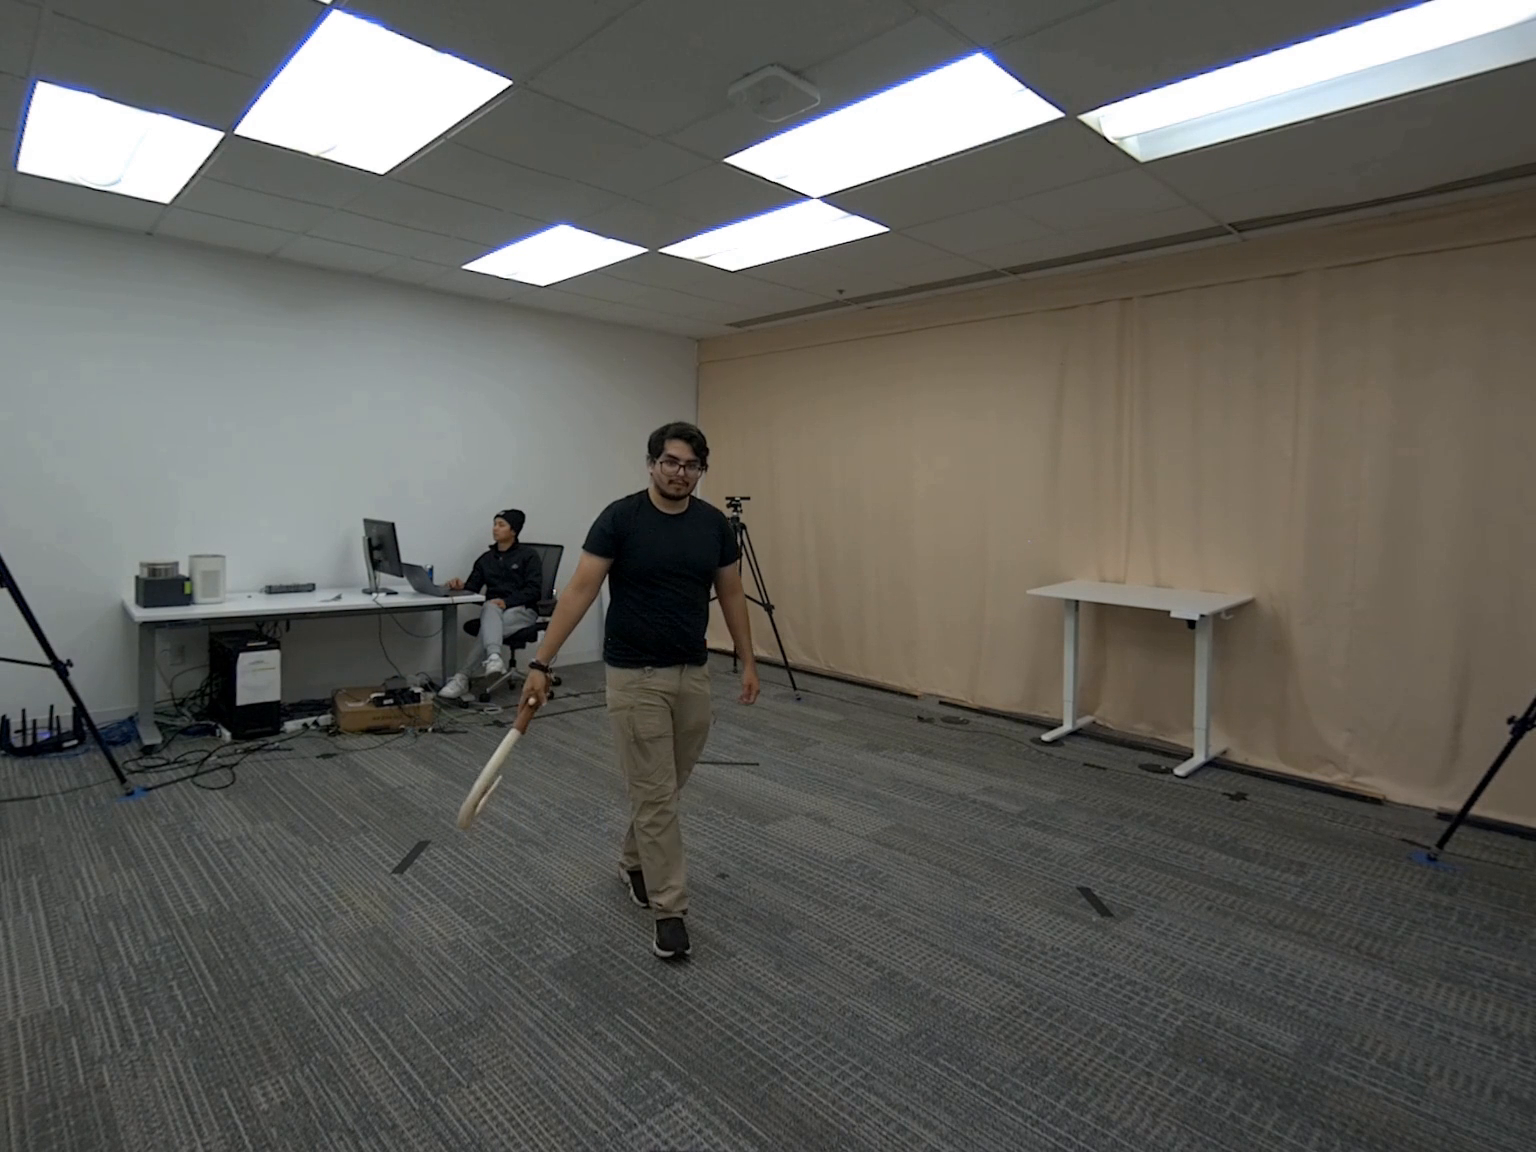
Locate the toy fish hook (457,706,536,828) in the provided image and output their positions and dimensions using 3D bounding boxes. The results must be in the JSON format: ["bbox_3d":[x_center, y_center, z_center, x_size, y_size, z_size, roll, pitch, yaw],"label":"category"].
[{"bbox_3d":[-0.787,0.524,2.520,0.048,0.510,0.223,29,-30,-3],"label":"toy fish hook"}]
